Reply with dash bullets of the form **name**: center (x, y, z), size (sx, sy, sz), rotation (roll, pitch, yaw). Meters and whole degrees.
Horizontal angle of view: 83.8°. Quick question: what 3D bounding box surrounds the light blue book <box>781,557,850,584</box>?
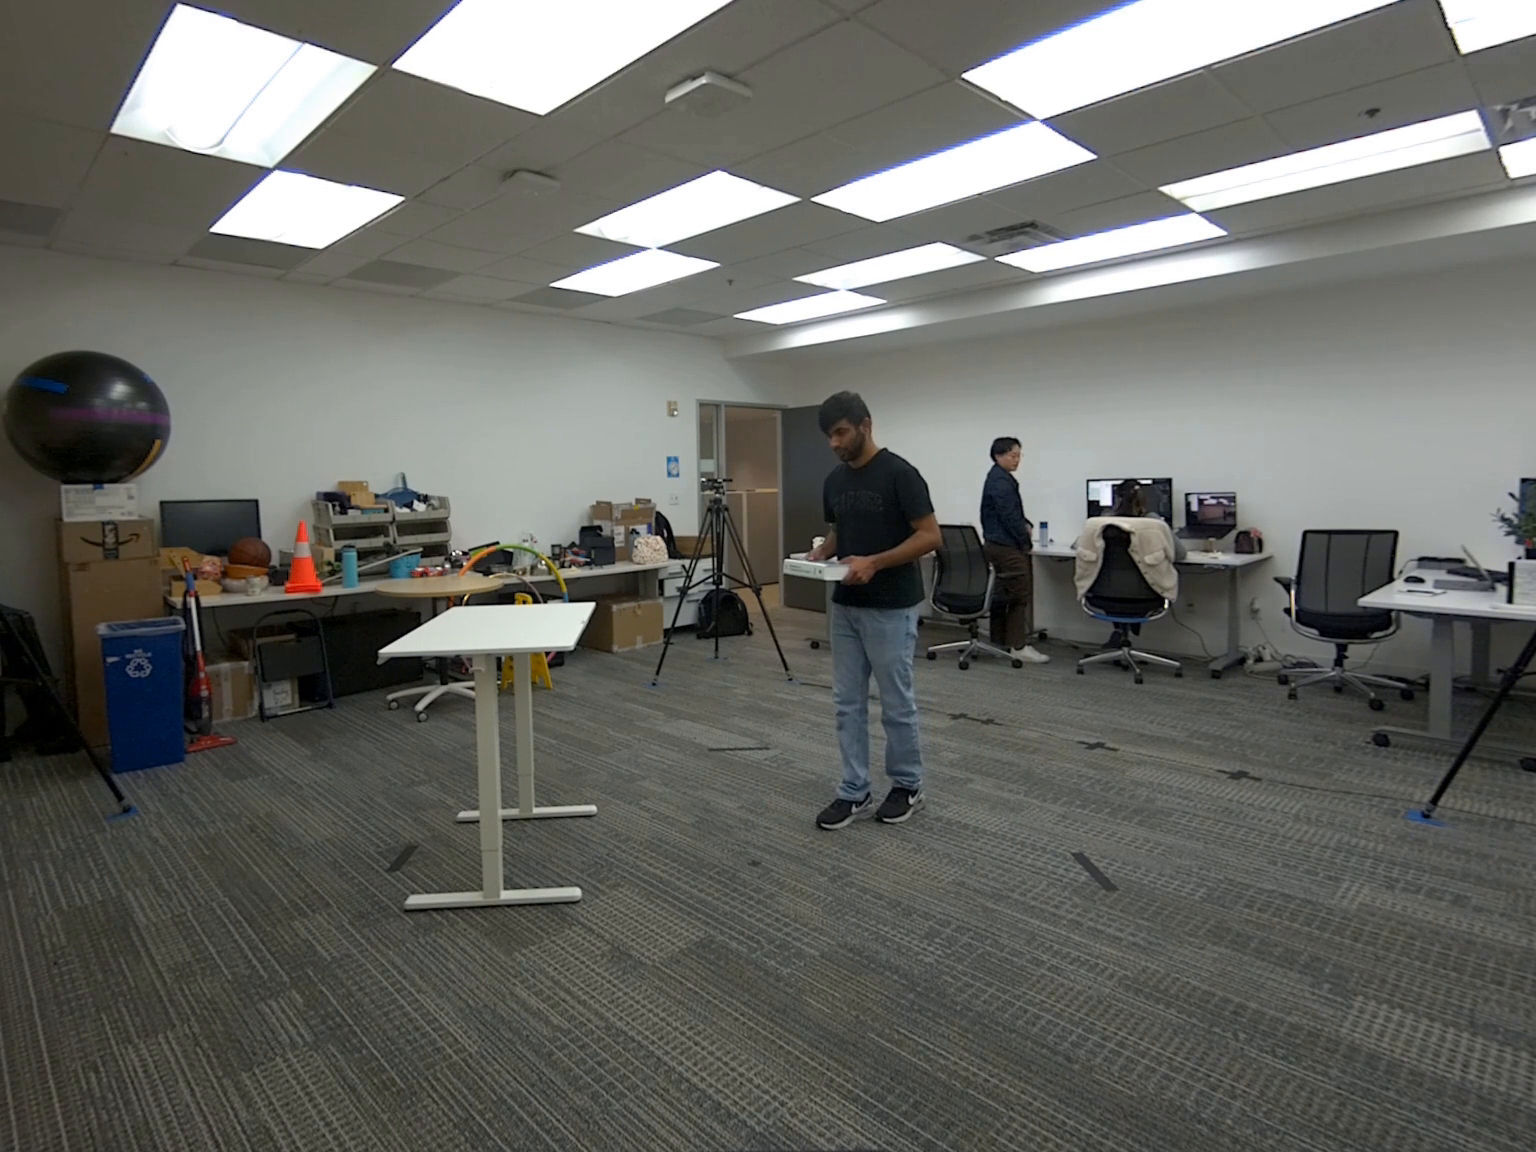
- **light blue book**: center (0.220, -0.024, 3.302), size (0.187, 0.059, 0.267), rotation (2, 4, -25)
